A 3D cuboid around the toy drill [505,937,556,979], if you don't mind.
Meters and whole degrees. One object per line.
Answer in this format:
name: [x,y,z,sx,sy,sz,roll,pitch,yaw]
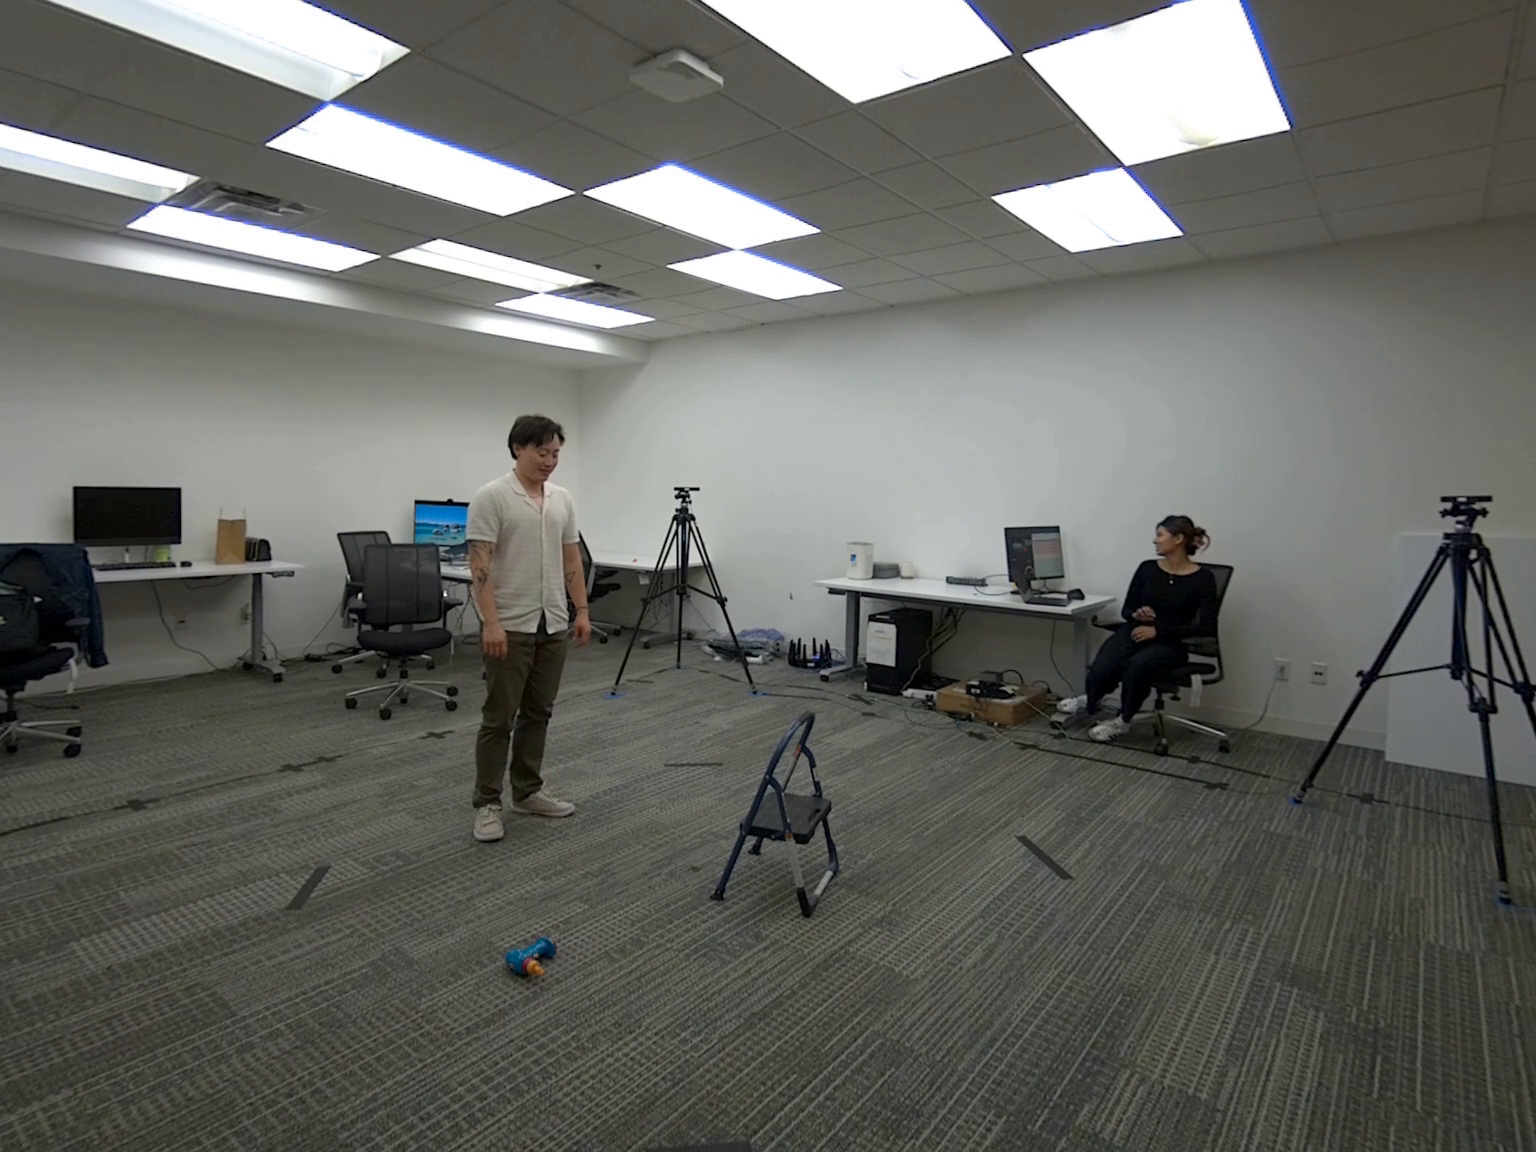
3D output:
toy drill: [-0.679,1.098,2.438,0.175,0.061,0.141,-3,0,42]
